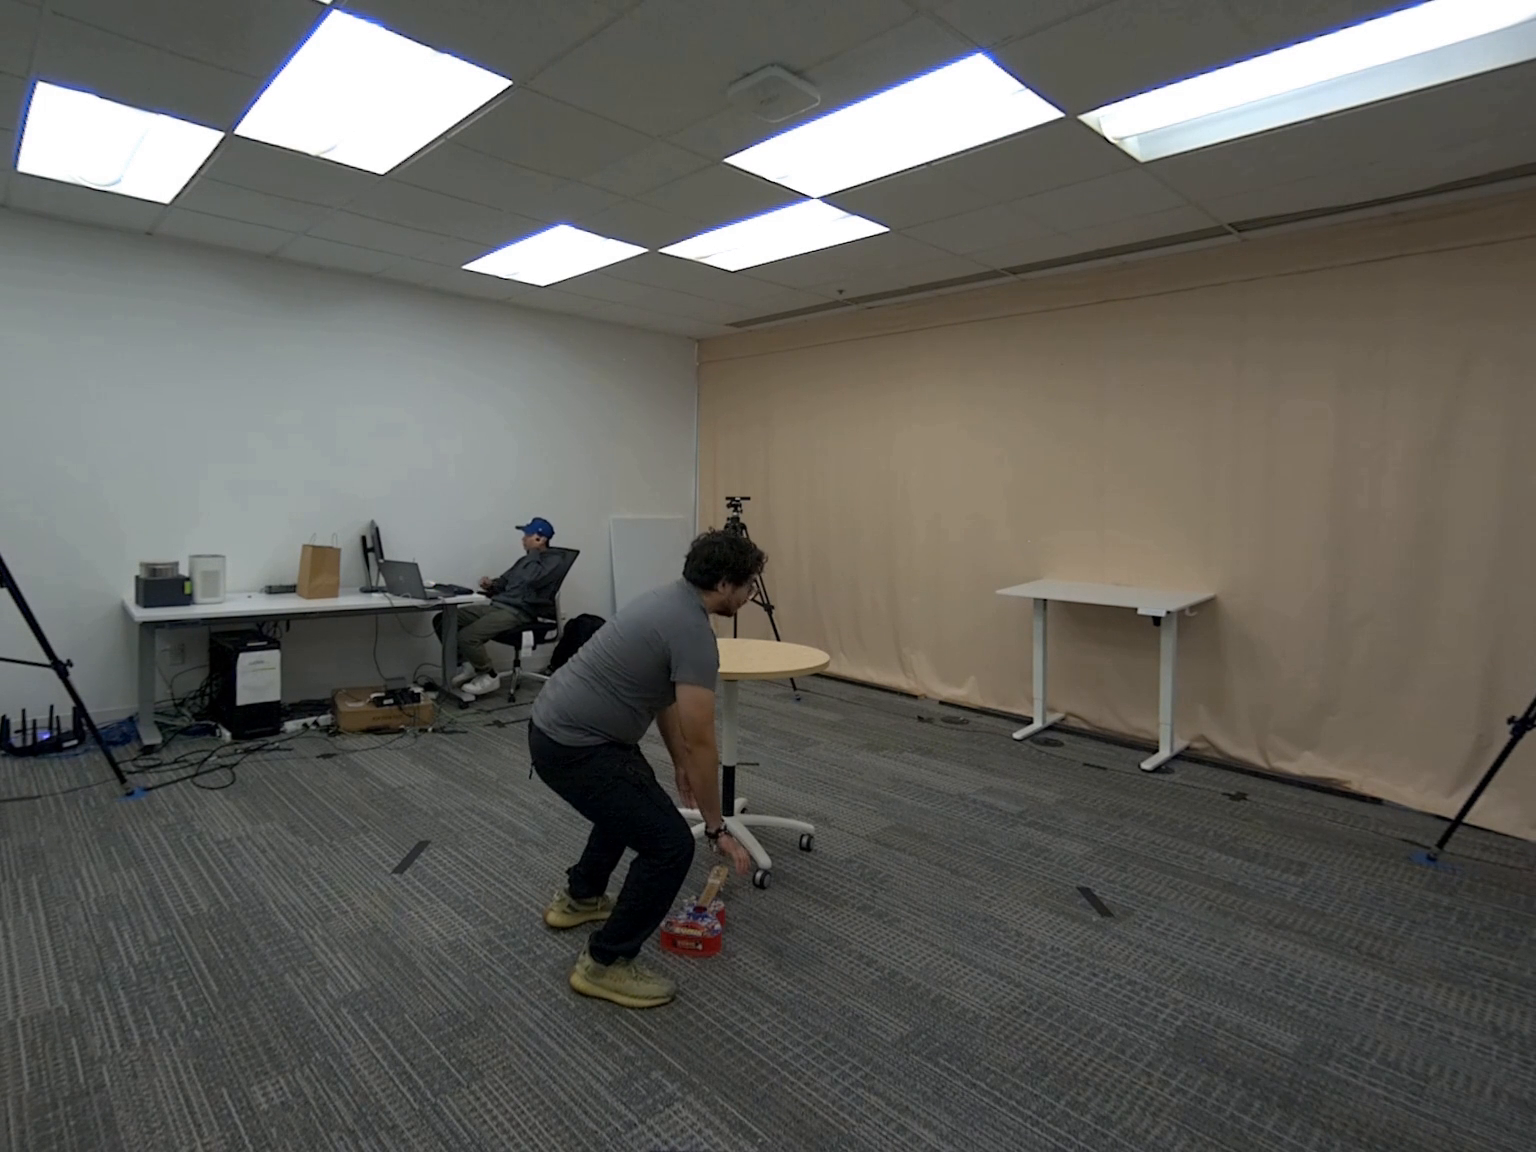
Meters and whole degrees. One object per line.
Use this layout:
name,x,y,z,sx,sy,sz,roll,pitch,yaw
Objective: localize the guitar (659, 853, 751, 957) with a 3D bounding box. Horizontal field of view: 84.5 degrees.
guitar,-0.189,1.094,2.793,0.196,0.070,0.492,3,6,18
